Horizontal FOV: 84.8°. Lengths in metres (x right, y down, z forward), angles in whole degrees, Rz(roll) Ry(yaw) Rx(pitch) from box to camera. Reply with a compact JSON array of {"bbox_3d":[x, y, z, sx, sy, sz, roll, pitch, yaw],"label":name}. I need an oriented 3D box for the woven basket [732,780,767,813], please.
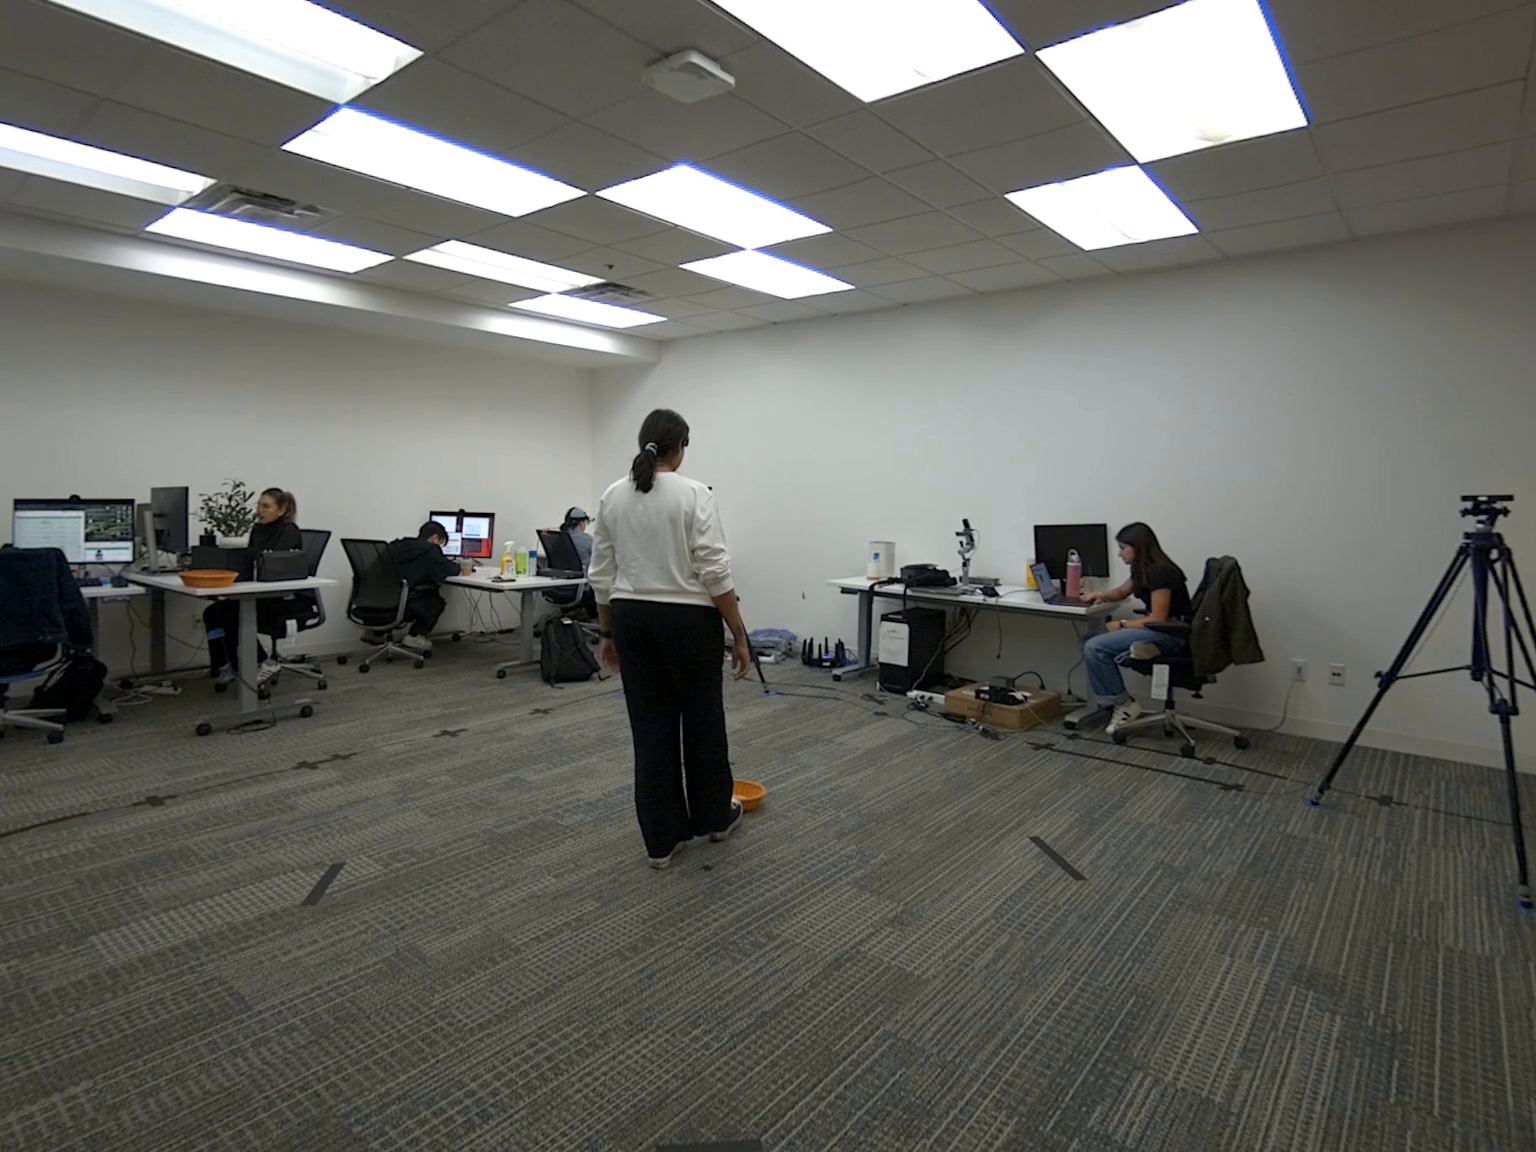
[{"bbox_3d":[-0.184,0.962,3.731,0.359,0.073,0.247,4,6,21],"label":"woven basket"}]
